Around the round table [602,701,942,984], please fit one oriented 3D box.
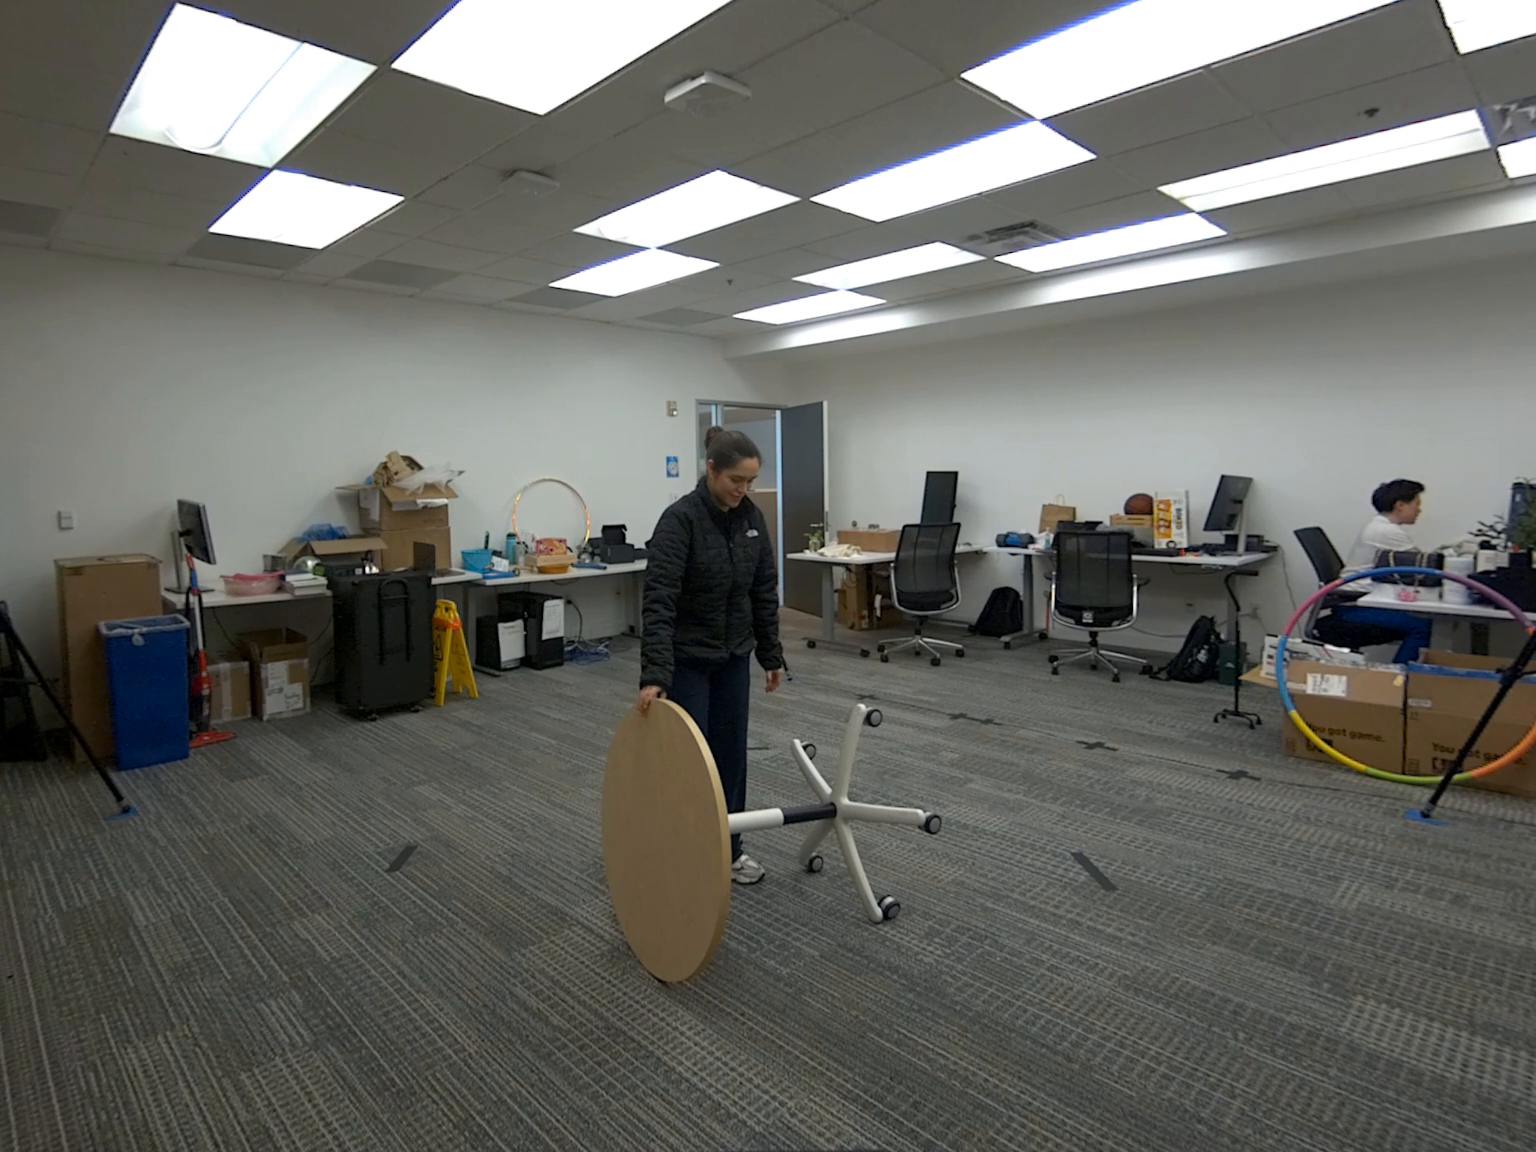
[{"bbox_3d":[-0.006,0.761,2.679,0.764,0.785,0.808,4,1,-34],"label":"round table"}]
